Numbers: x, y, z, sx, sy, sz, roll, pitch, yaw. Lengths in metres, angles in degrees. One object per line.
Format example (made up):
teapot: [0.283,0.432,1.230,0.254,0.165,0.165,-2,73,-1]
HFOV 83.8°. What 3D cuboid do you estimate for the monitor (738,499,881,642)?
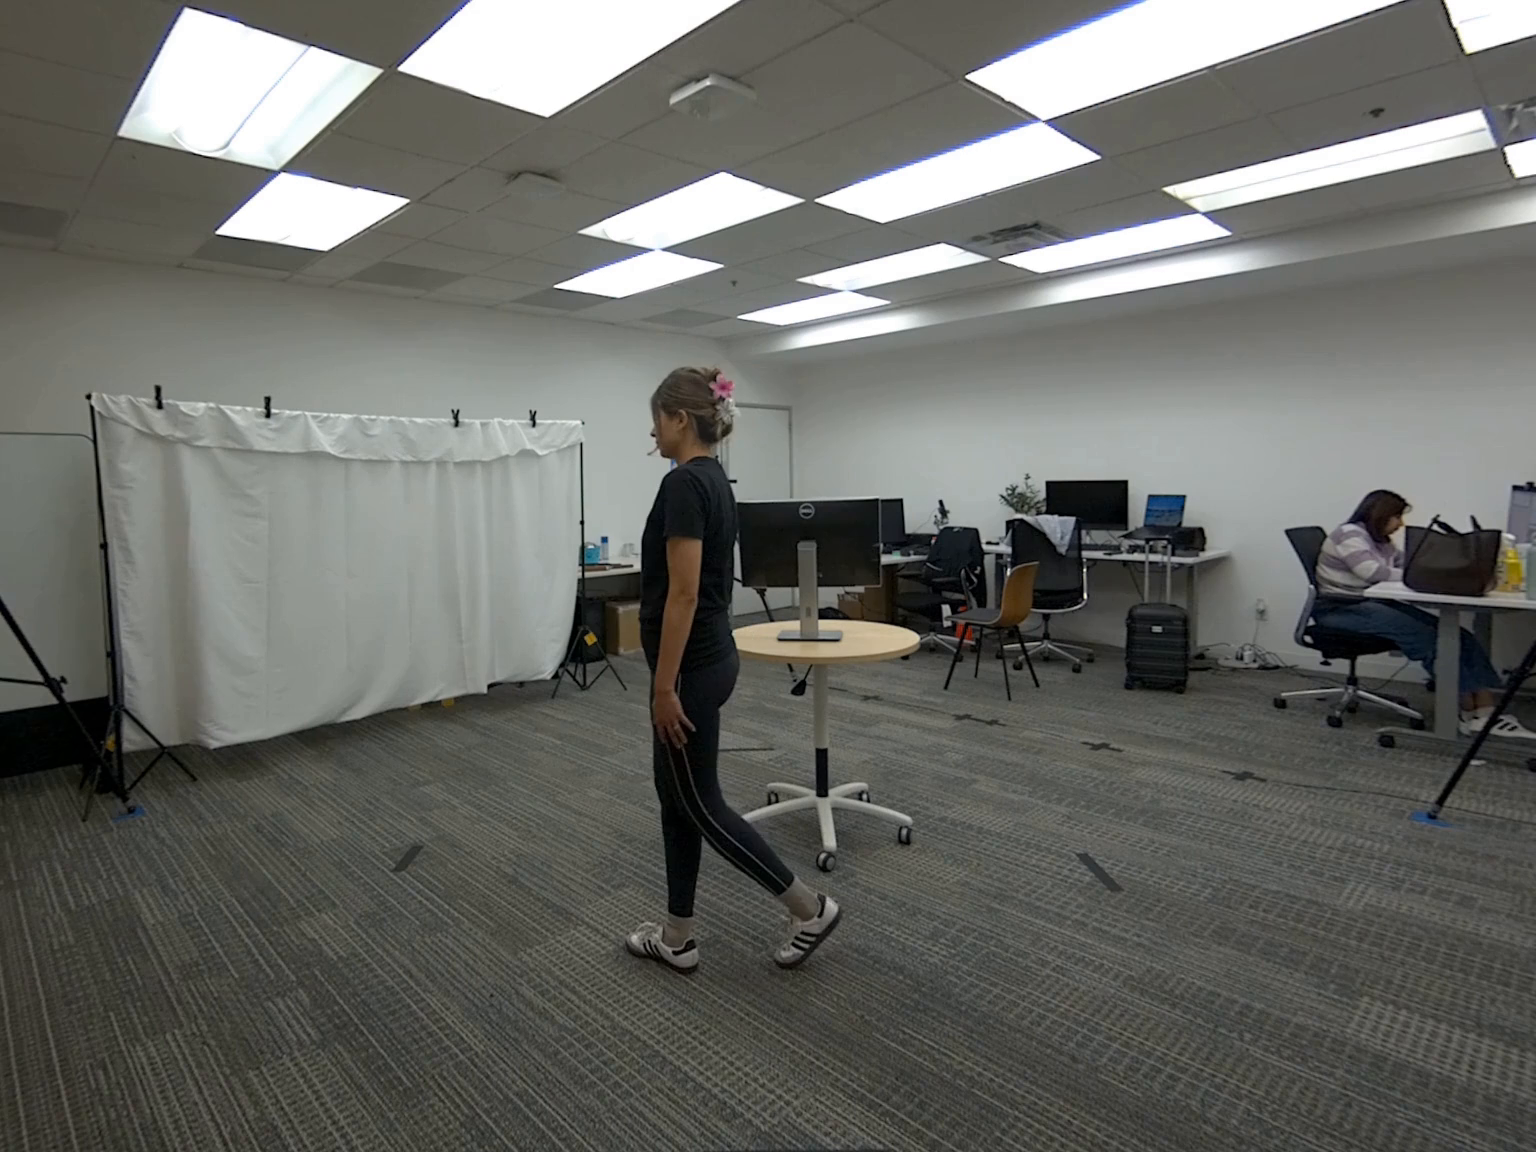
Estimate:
monitor: [0.158,-0.023,3.329,0.543,0.521,0.186,-1,3,8]
